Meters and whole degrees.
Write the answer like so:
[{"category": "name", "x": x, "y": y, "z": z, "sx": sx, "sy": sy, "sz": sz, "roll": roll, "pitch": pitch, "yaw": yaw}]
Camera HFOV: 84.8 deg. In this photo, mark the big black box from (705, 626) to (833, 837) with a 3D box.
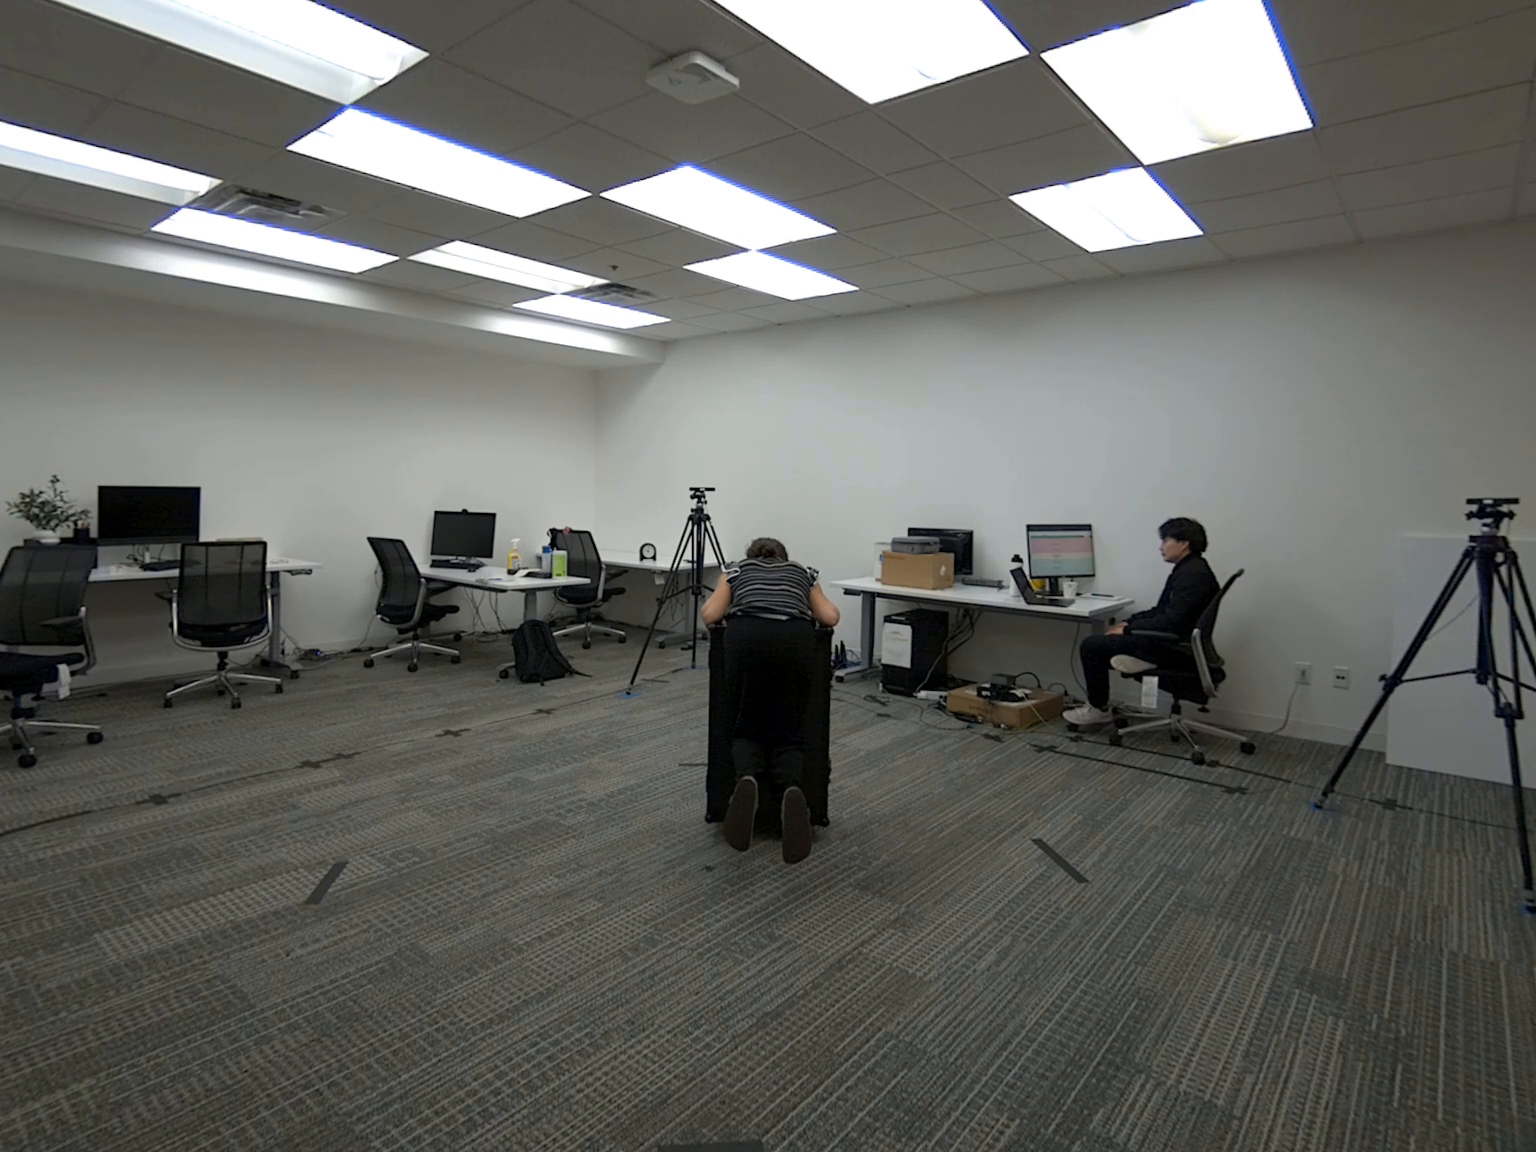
[{"category": "big black box", "x": -0.025, "y": 0.615, "z": 3.531, "sx": 0.522, "sy": 0.861, "sz": 0.396, "roll": 1, "pitch": 1, "yaw": 0}]
